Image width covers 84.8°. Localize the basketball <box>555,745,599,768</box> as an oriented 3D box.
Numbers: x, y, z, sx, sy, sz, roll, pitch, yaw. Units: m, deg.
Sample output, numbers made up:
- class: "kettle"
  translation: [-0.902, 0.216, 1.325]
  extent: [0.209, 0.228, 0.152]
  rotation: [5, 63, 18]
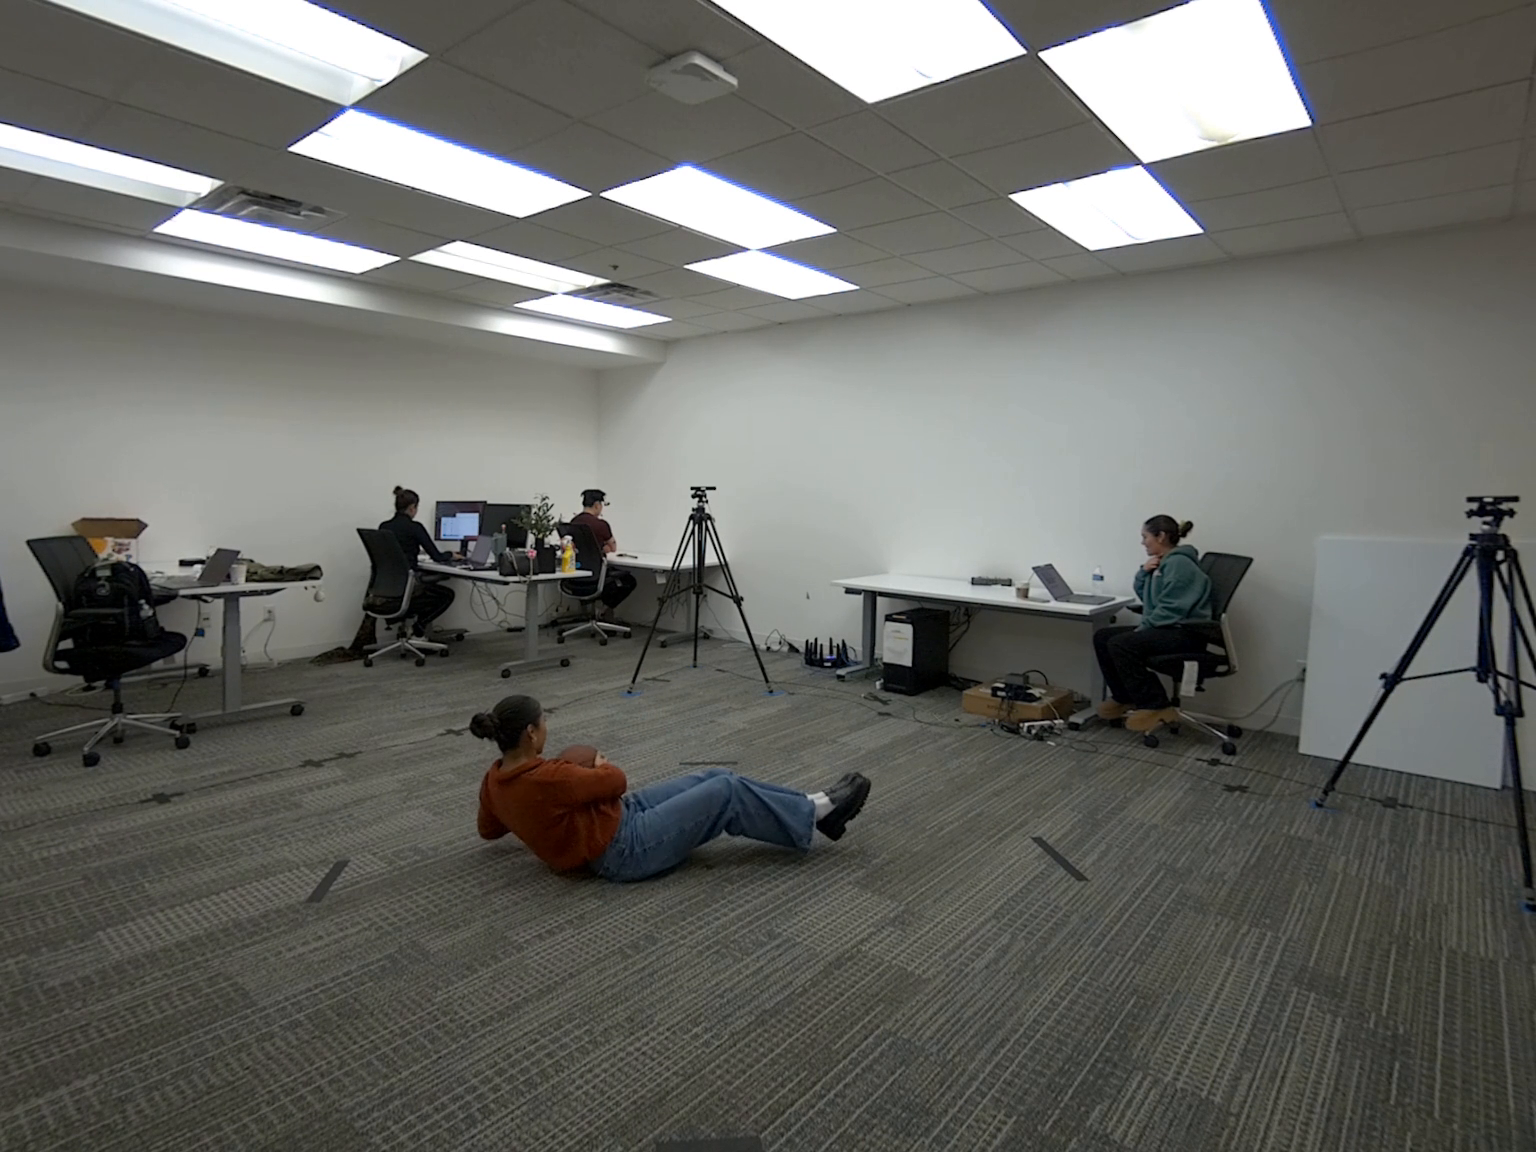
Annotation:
- class: "basketball"
  translation: [-0.753, 0.778, 3.404]
  extent: [0.235, 0.235, 0.237]
  rotation: [1, 4, -2]
